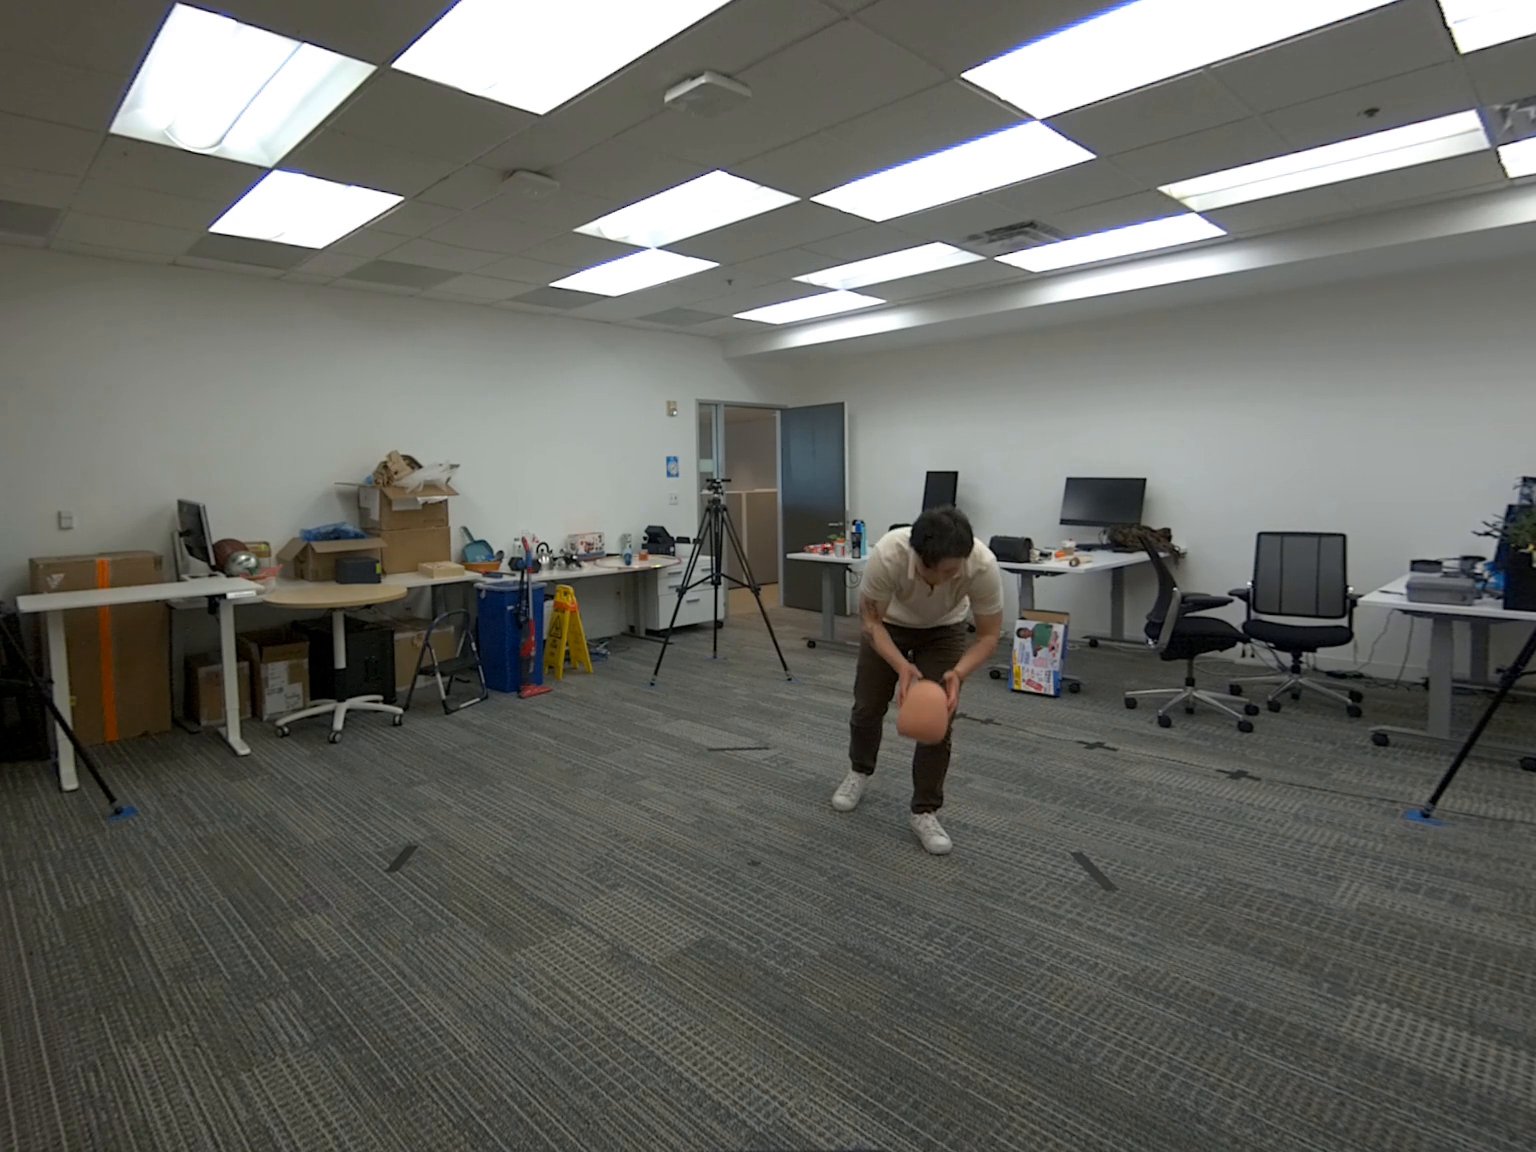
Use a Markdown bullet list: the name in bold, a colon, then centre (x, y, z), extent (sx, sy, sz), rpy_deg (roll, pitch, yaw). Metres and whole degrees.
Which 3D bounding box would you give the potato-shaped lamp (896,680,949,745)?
- **potato-shaped lamp**: centre (0.528, 0.499, 2.846), extent (0.160, 0.197, 0.177), rpy_deg (-1, 10, -38)
